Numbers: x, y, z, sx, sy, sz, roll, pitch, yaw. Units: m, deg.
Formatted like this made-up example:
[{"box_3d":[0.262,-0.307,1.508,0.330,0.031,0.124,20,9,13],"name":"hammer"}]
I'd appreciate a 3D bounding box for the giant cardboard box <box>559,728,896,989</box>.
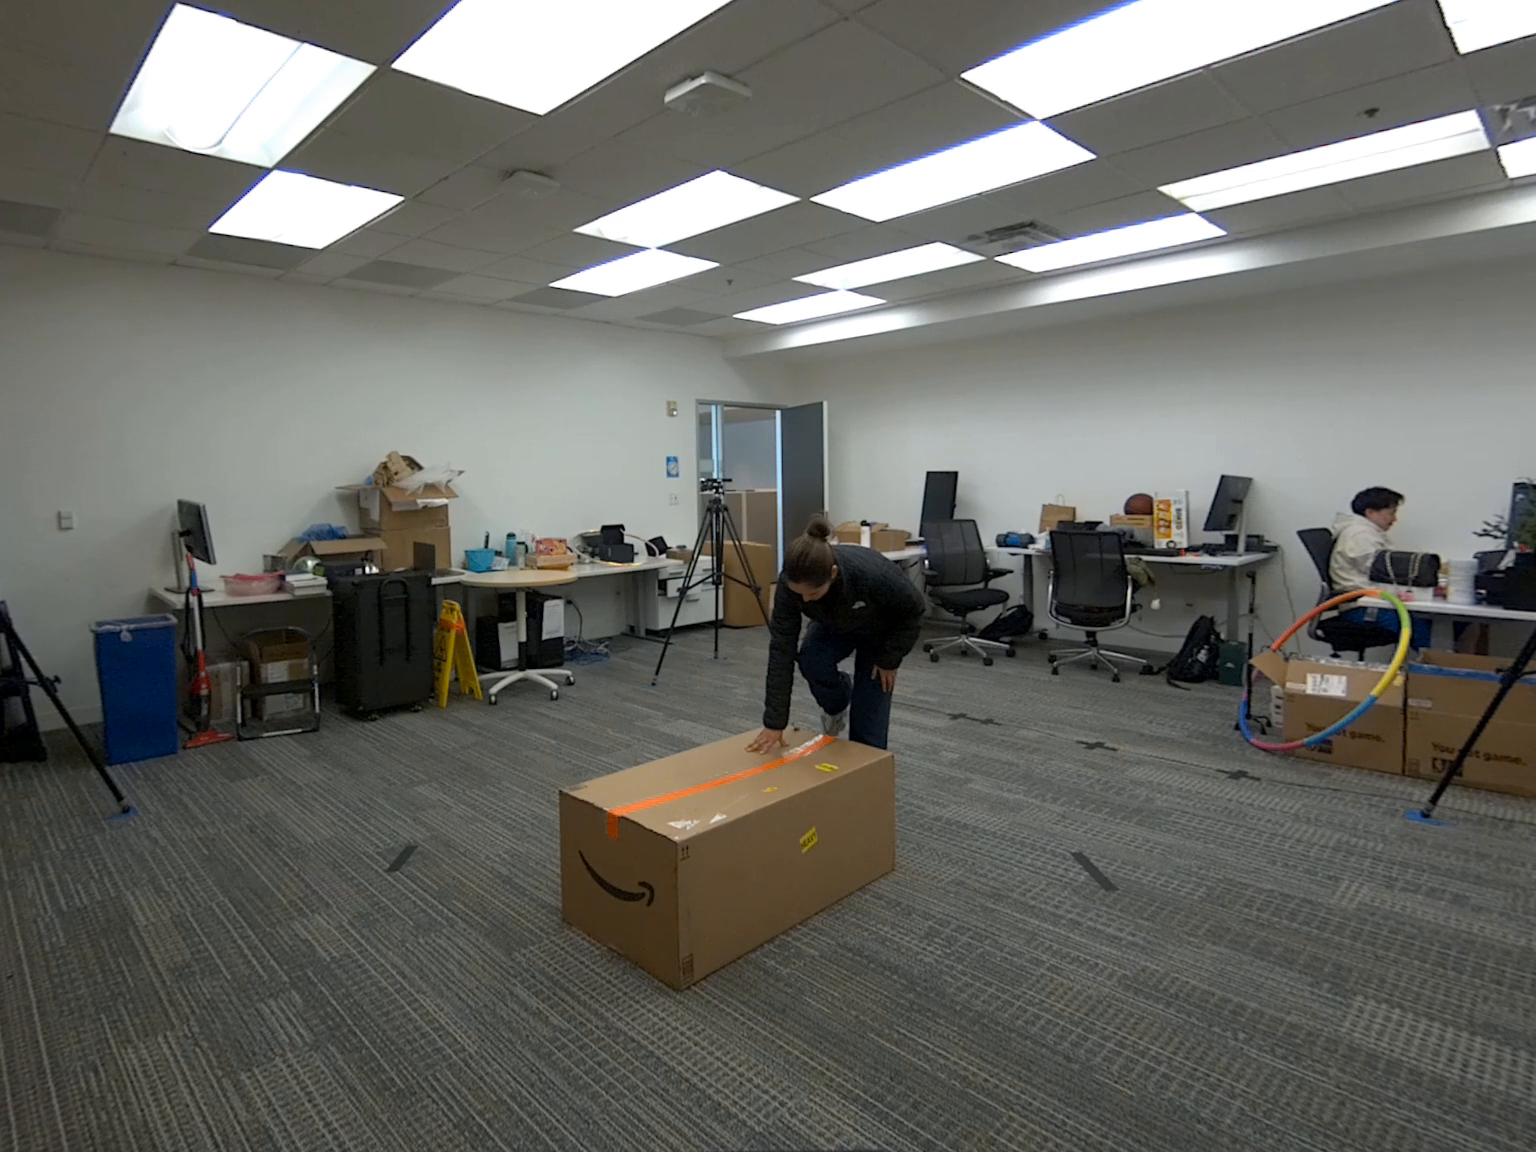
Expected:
[{"box_3d":[-0.107,0.864,2.886,0.601,0.445,1.001,3,7,44],"name":"giant cardboard box"}]
